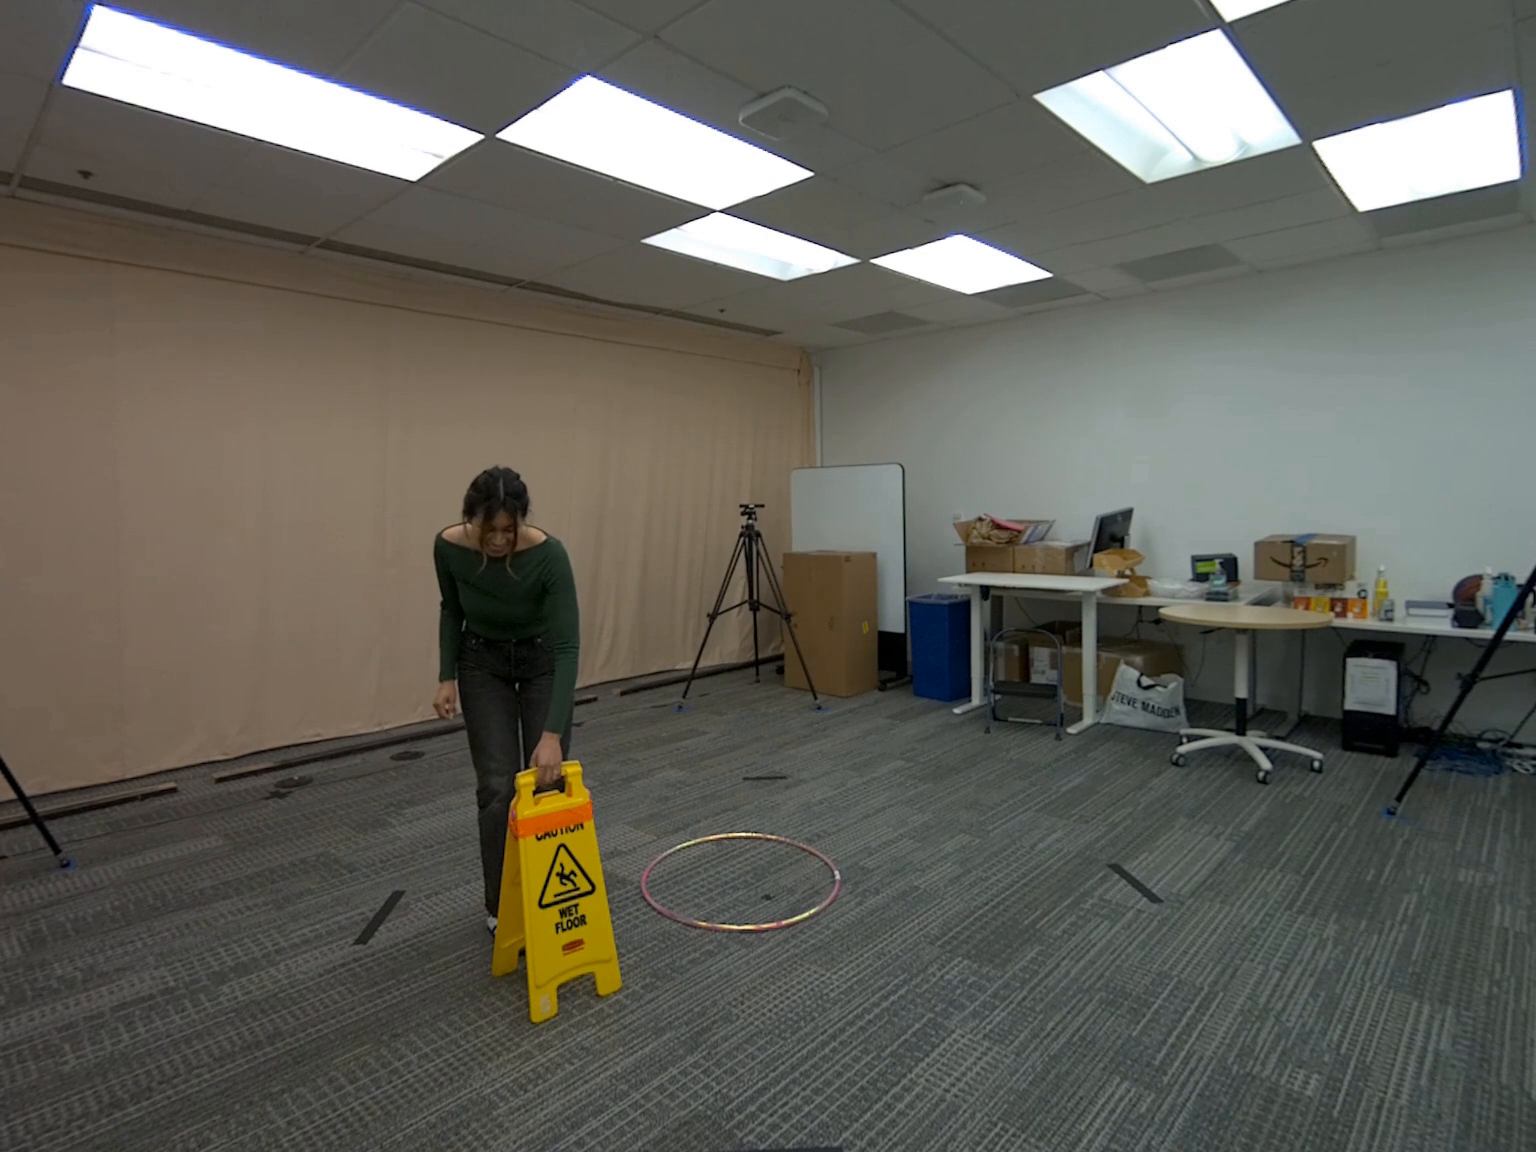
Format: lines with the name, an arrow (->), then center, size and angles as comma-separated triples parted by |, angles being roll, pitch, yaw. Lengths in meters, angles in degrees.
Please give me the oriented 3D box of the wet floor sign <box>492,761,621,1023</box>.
wet floor sign -> -0.631, 0.875, 2.461 | 0.274, 0.645, 0.299 | -2, 3, -38
